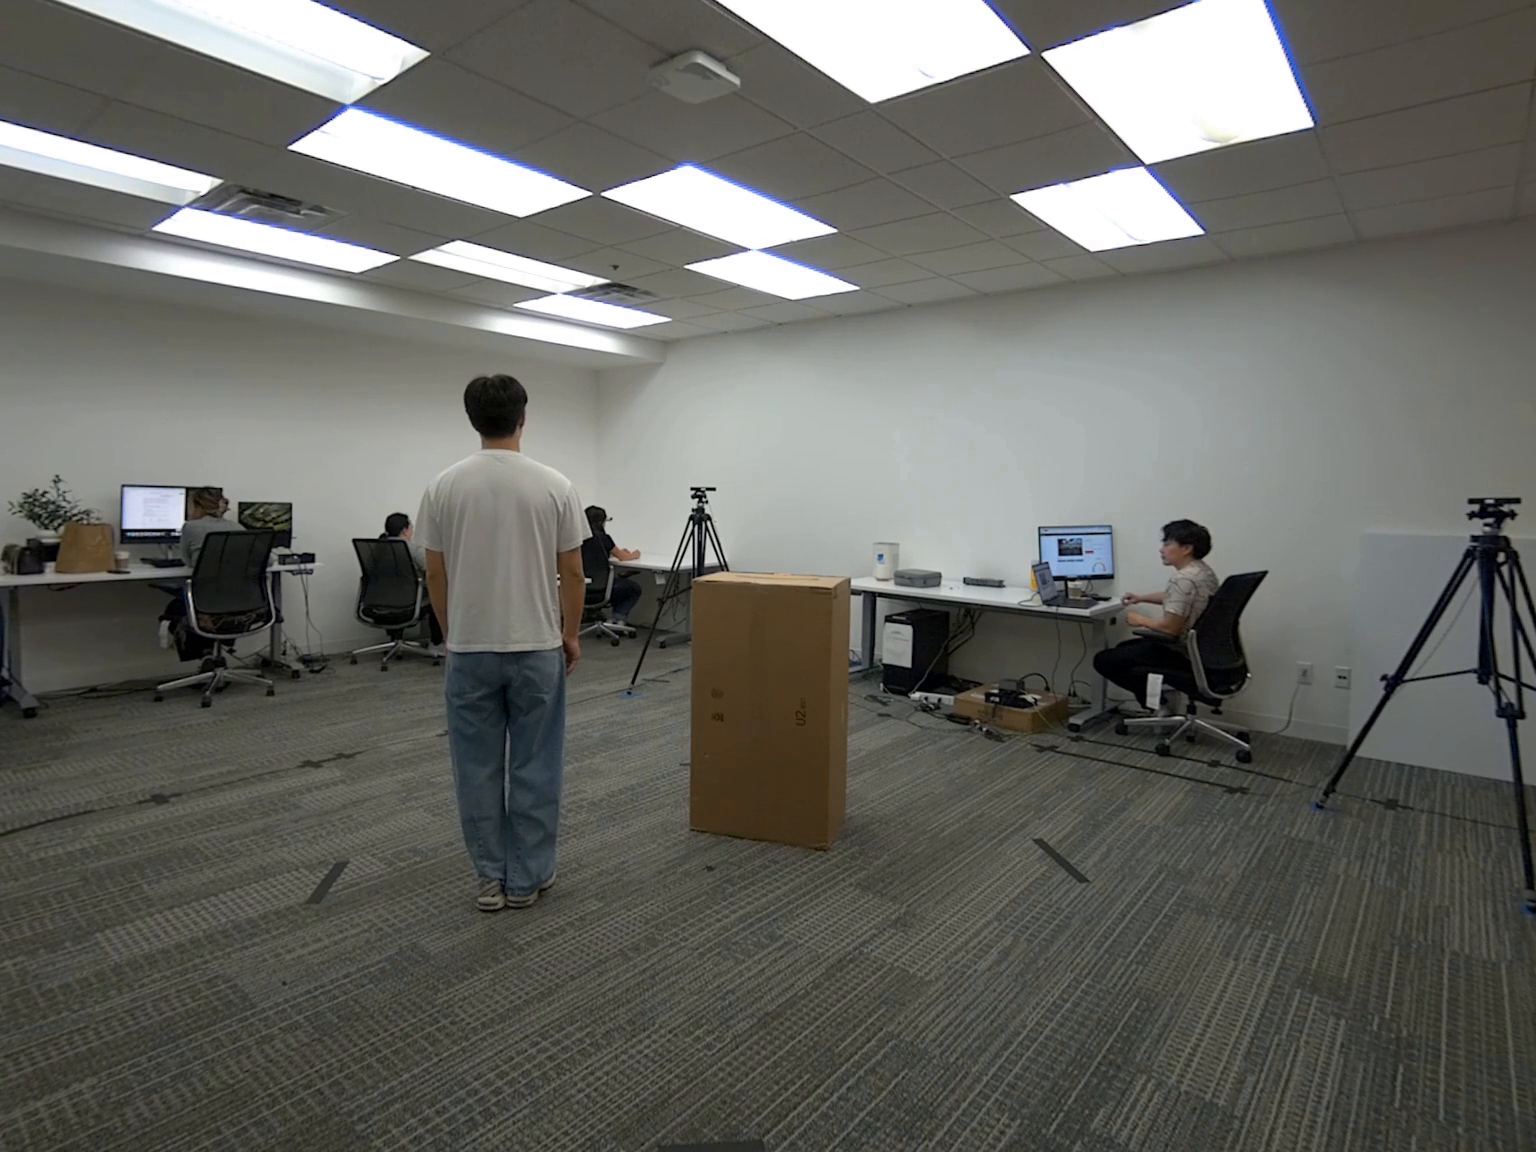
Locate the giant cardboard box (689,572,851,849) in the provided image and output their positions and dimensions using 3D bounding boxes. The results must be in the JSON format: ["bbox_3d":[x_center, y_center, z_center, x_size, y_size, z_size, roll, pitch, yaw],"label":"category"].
[{"bbox_3d":[0.005,0.517,3.548,0.589,1.023,0.419,2,3,18],"label":"giant cardboard box"}]
